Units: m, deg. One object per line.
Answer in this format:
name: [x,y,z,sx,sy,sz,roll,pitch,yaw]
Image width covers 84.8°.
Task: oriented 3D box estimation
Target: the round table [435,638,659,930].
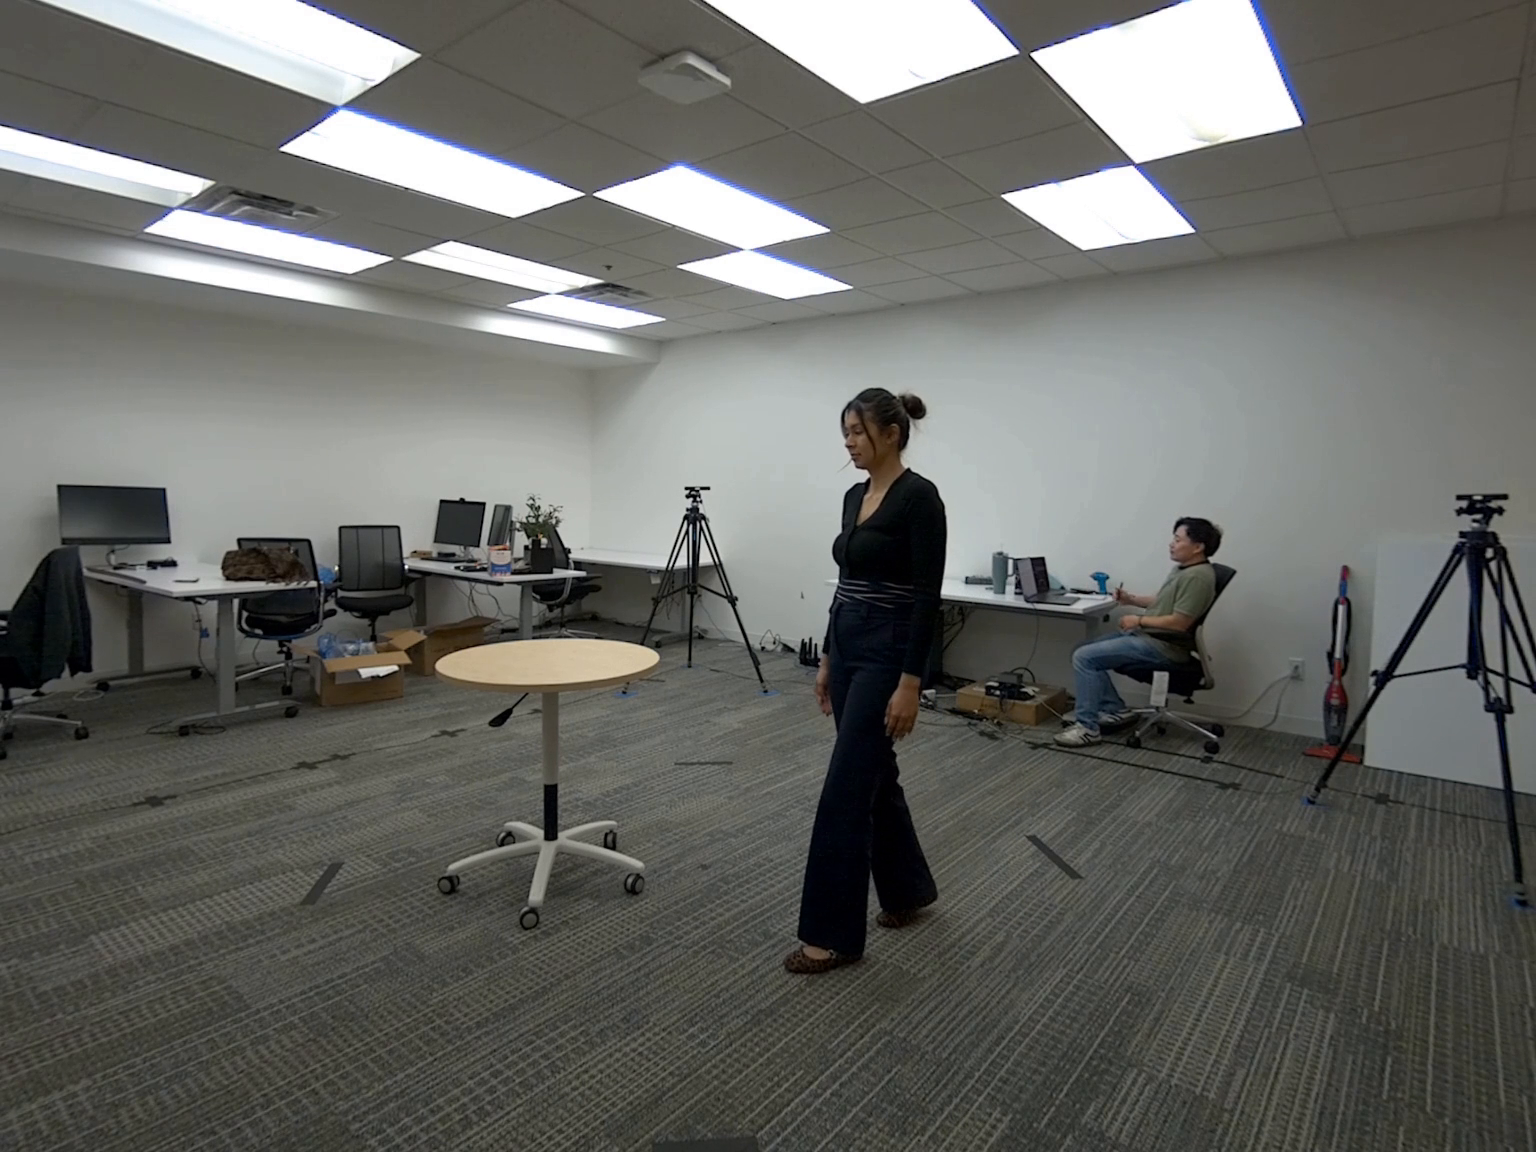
round table: [-0.777,0.681,2.999,0.763,0.791,0.768,0,4,-2]
